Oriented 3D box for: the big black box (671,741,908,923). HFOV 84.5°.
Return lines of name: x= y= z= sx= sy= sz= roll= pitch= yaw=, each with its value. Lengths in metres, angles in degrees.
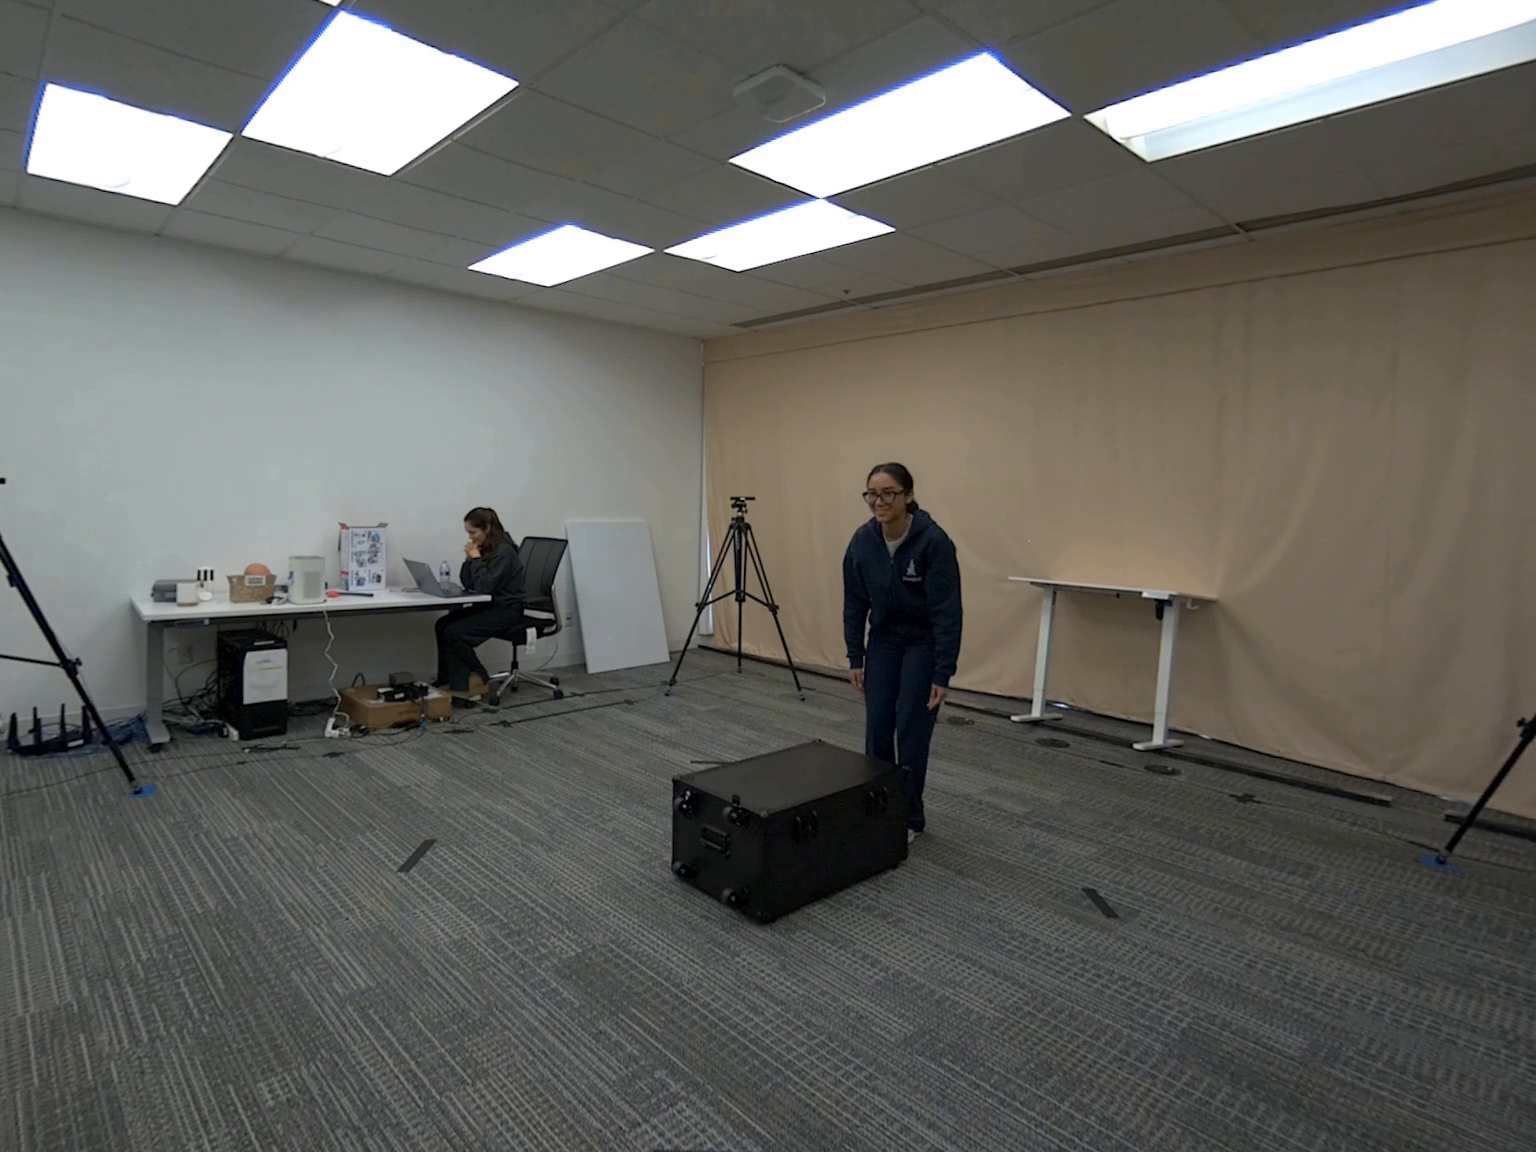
big black box: x=0.062 y=0.920 z=3.125 sx=0.841 sy=0.395 sz=0.534 roll=-2 pitch=5 yaw=-44
